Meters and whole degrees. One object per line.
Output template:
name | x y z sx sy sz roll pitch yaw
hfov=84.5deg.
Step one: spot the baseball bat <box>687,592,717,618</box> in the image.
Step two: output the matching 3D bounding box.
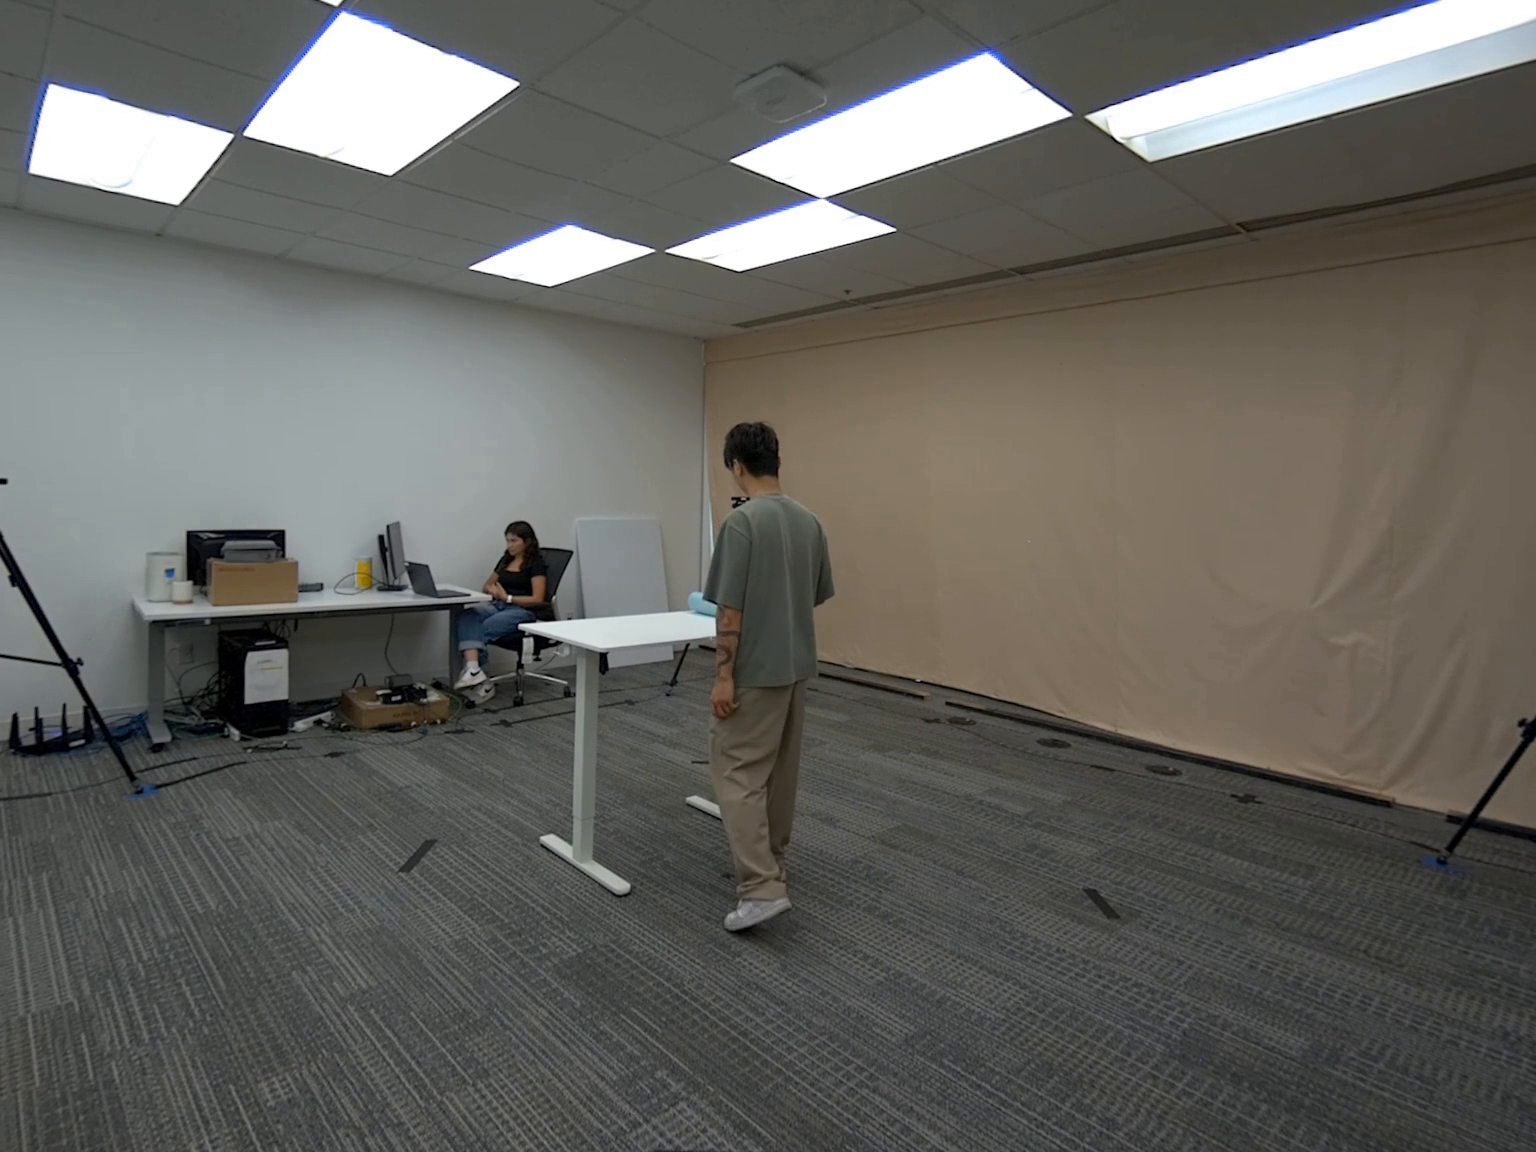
baseball bat | -0.153 0.152 3.578 0.087 0.088 0.558 -2 10 -42
